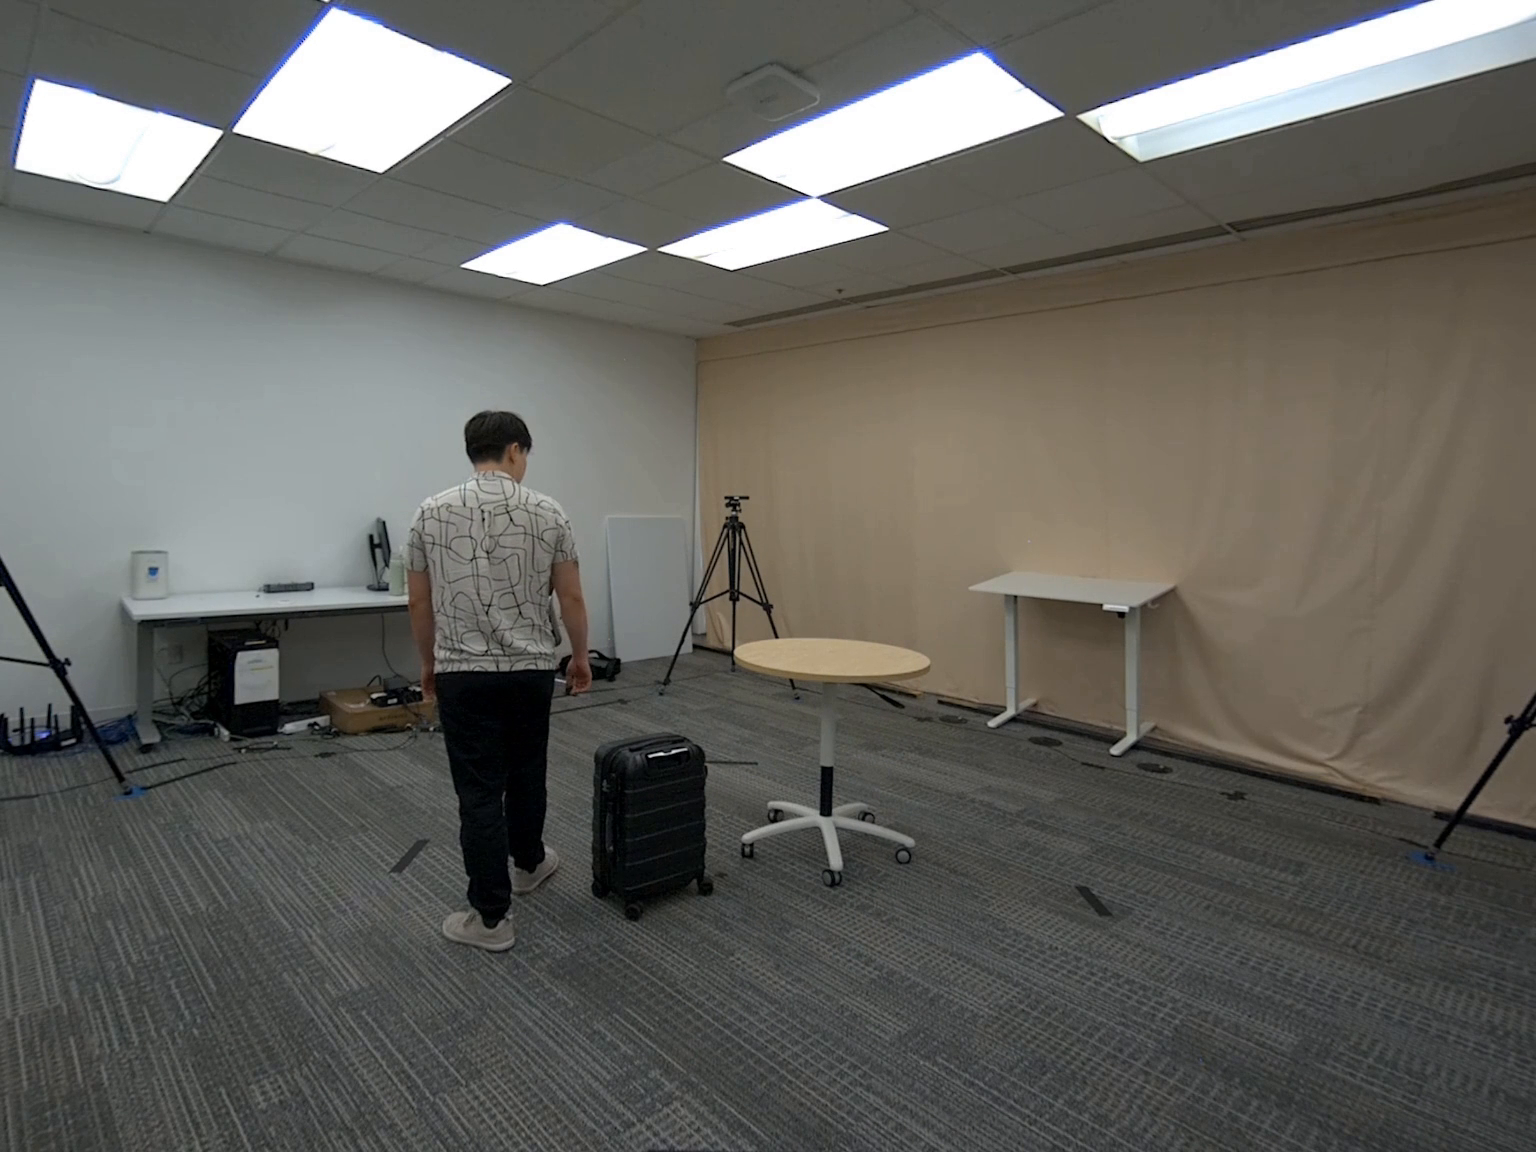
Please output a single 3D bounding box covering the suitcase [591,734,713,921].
[{"bbox_3d":[-0.418,0.837,2.930,0.367,0.548,0.254,-2,3,-39],"label":"suitcase"}]
